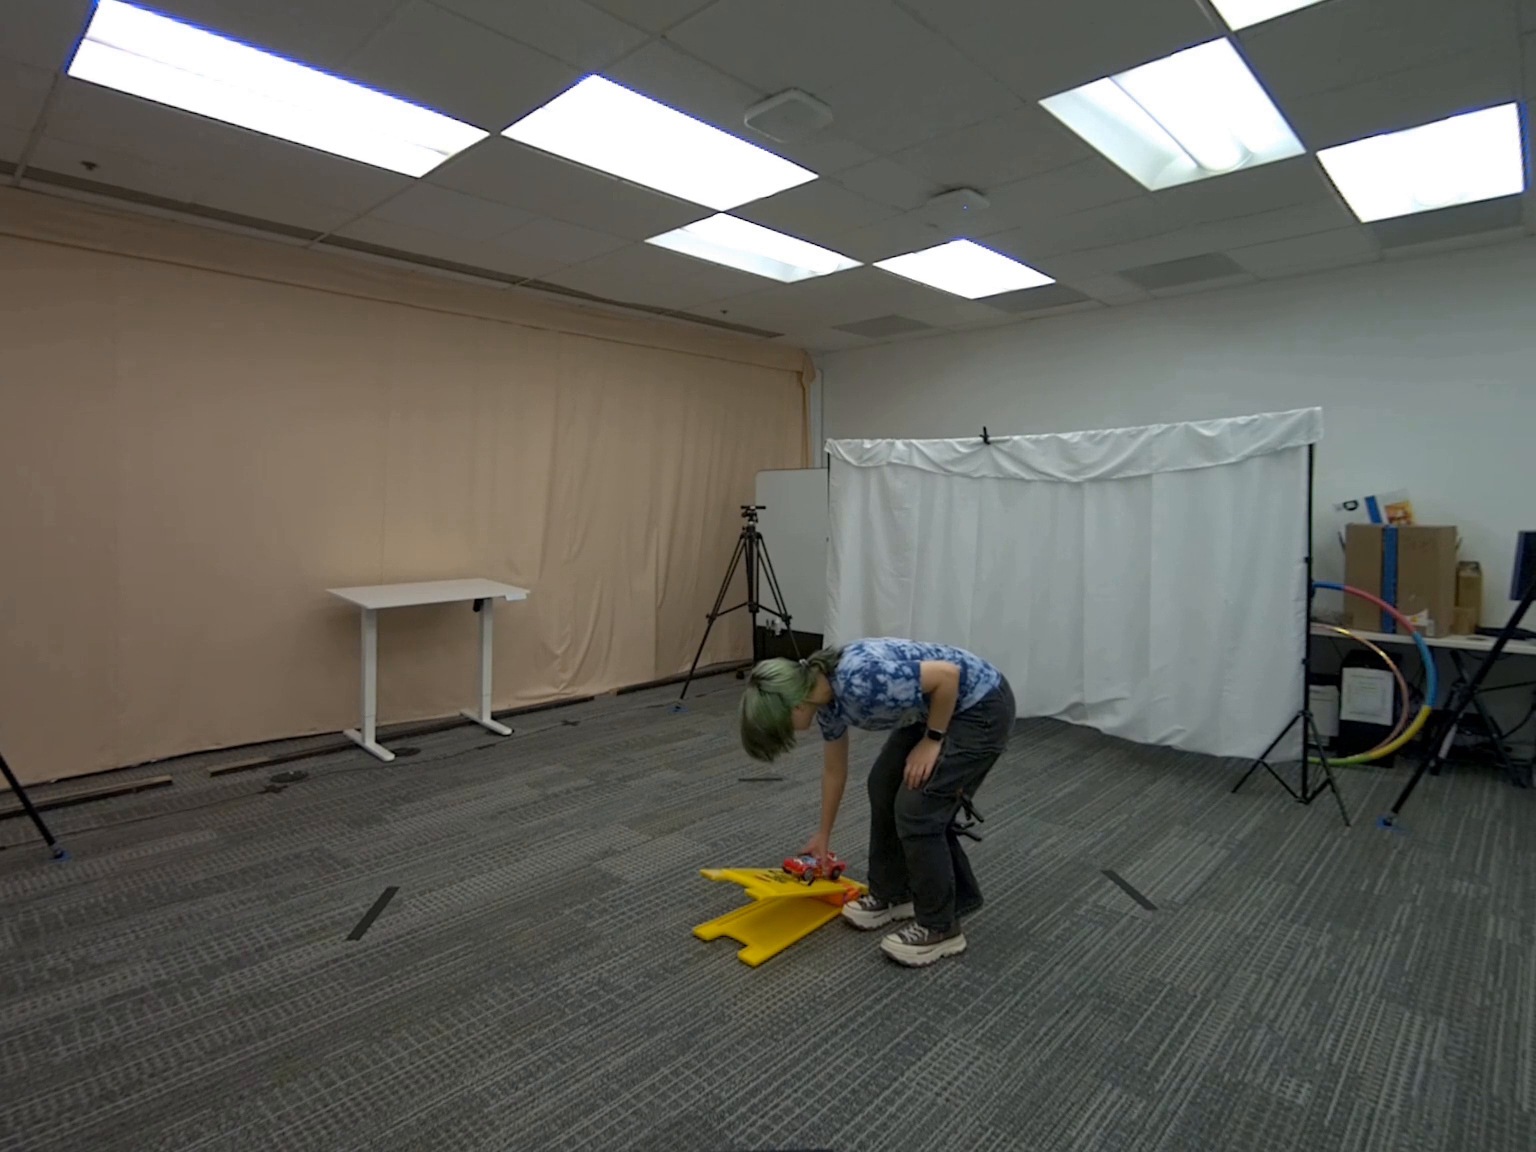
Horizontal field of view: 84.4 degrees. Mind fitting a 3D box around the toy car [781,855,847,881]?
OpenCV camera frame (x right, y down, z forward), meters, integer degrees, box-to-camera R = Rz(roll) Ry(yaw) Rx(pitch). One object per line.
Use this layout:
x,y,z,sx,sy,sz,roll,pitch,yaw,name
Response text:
0.176,1.027,2.952,0.246,0.083,0.134,3,-1,-42,toy car
